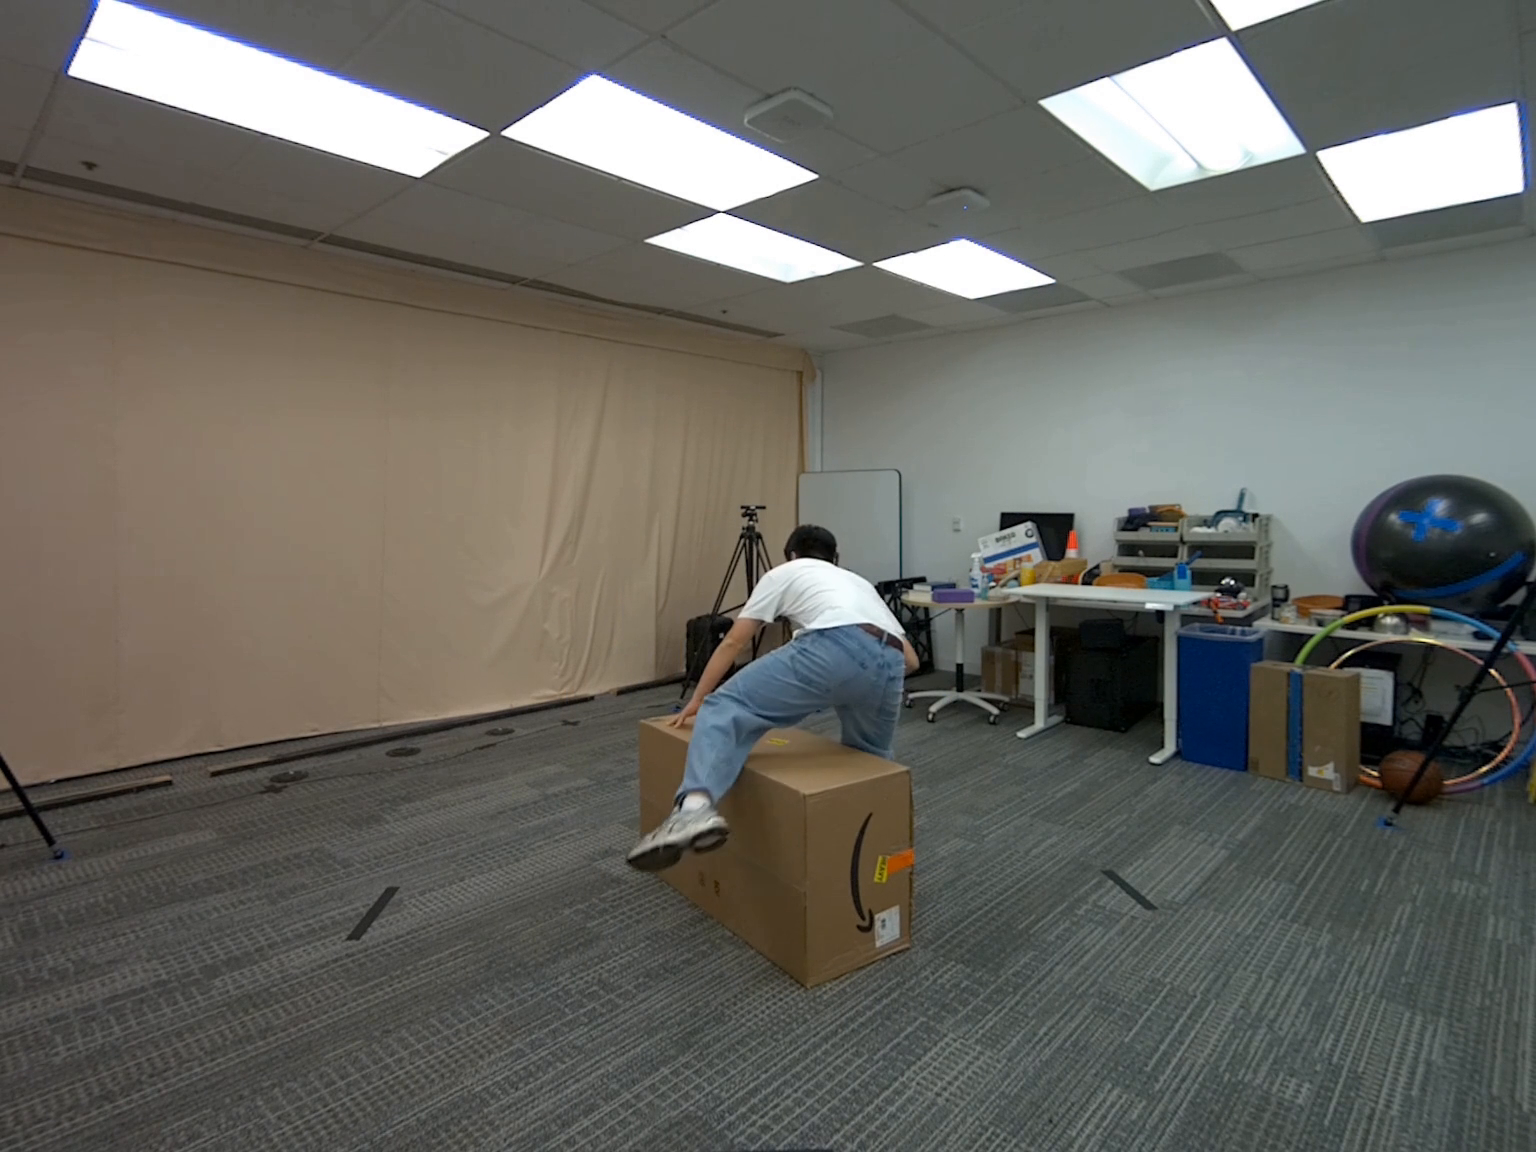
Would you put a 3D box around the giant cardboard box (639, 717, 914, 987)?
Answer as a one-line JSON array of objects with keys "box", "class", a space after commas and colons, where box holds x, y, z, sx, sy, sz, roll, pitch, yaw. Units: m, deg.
[{"box": [-0.023, 0.861, 2.945, 0.414, 0.576, 1.058, -3, 5, -34], "class": "giant cardboard box"}]
